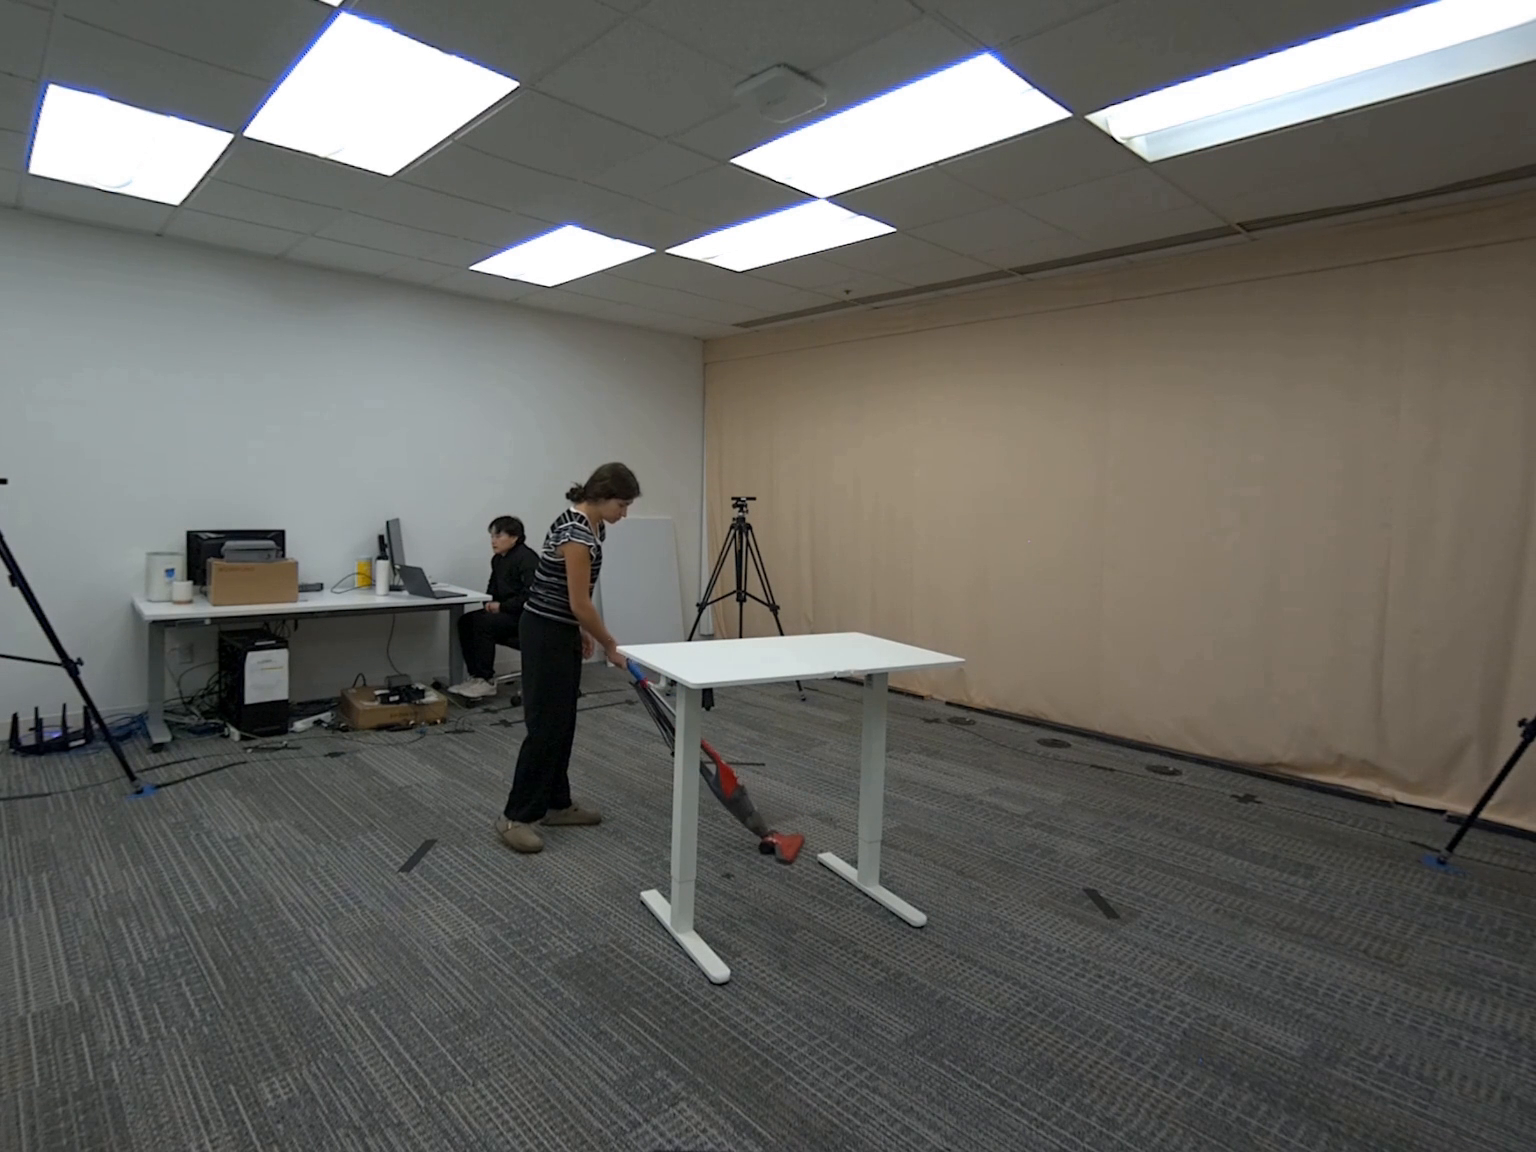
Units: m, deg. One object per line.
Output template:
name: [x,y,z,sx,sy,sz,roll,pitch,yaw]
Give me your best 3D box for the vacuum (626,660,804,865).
vacuum: [-0.308,0.713,3.448,1.061,0.144,0.250,46,7,10]
